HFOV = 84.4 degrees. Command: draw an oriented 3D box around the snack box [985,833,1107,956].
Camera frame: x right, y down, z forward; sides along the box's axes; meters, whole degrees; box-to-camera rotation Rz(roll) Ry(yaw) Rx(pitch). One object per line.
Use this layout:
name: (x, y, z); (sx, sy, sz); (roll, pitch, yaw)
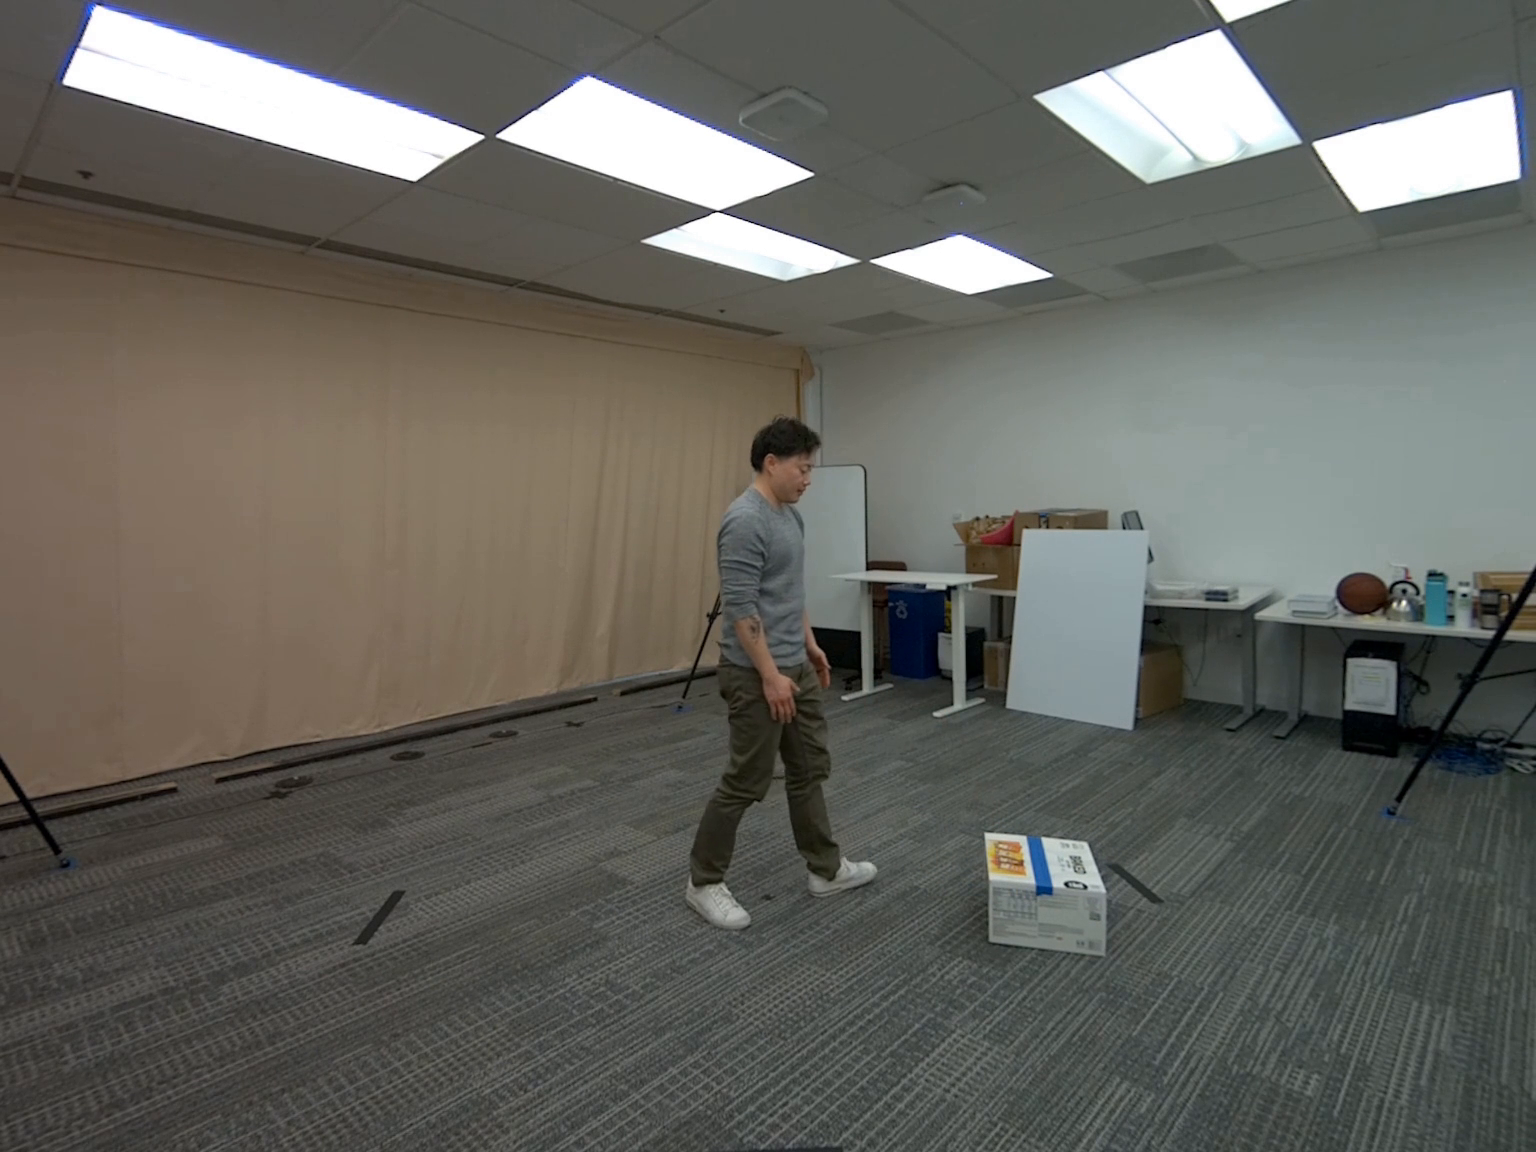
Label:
snack box: (0.897, 1.034, 2.786); (0.346, 0.205, 0.400); (0, 4, 13)
